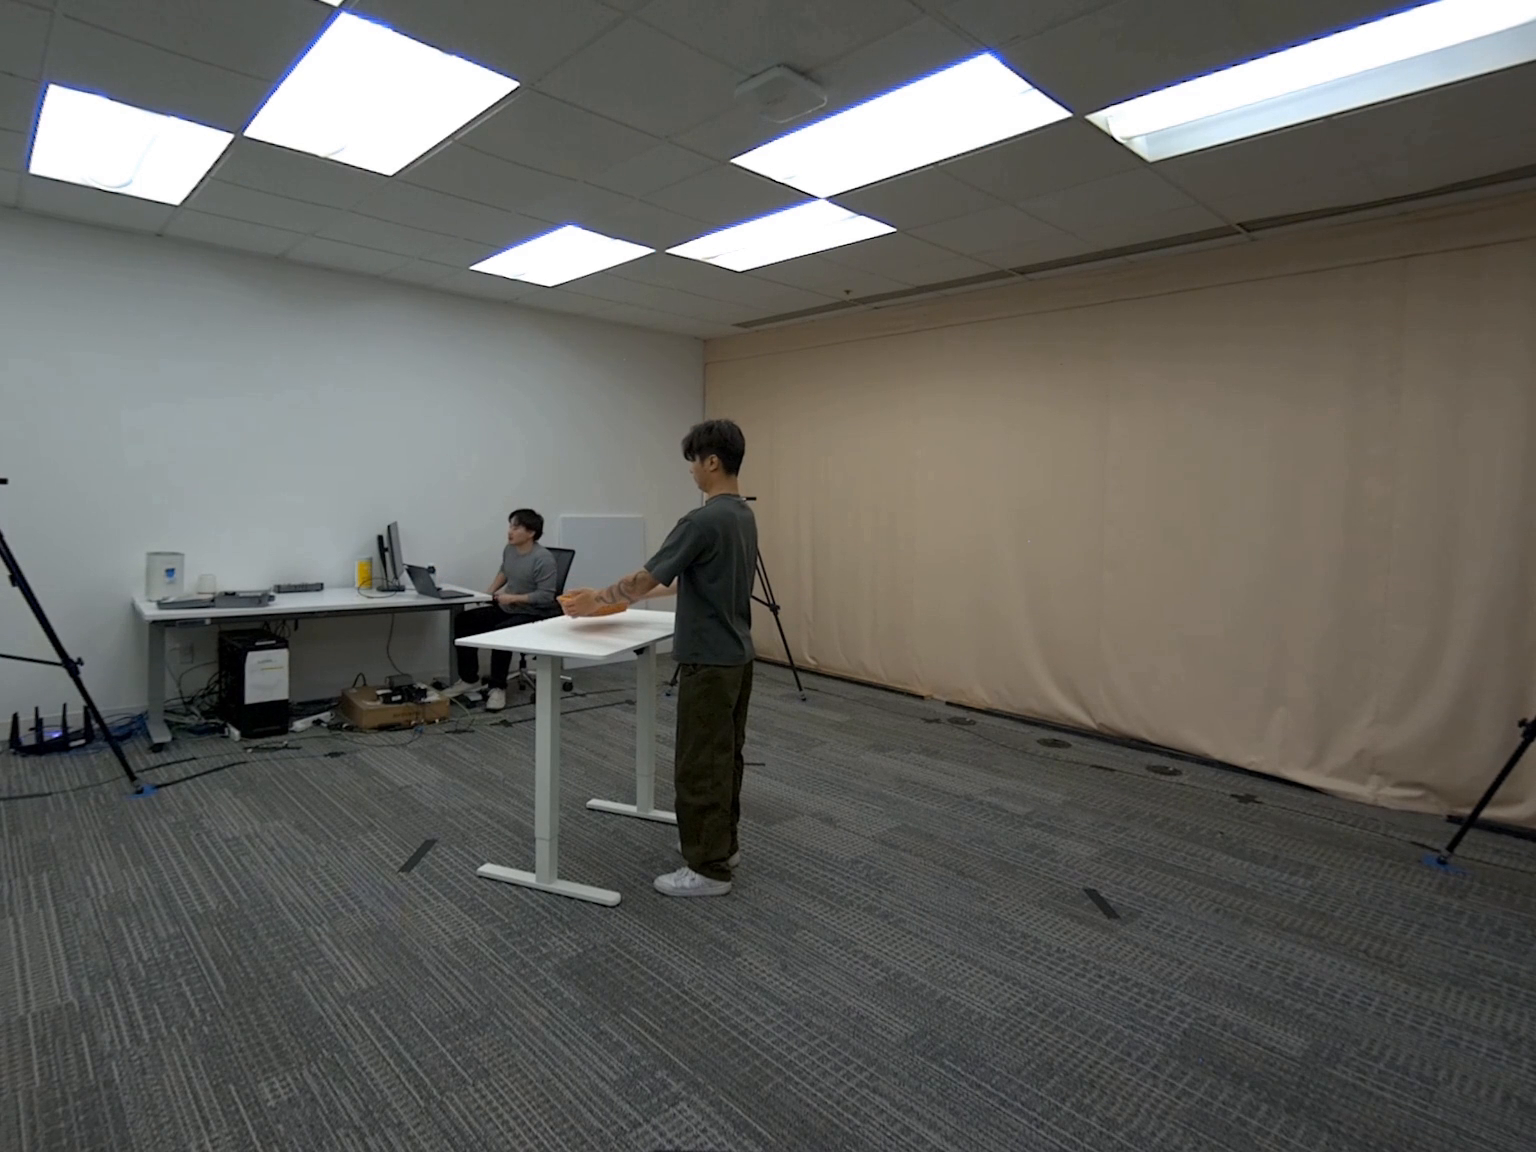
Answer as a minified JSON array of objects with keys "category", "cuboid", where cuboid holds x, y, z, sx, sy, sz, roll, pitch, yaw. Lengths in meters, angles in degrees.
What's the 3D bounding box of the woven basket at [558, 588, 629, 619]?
[{"category":"woven basket","cuboid":[-0.660,0.108,3.274,0.258,0.073,0.343,2,5,31]}]
